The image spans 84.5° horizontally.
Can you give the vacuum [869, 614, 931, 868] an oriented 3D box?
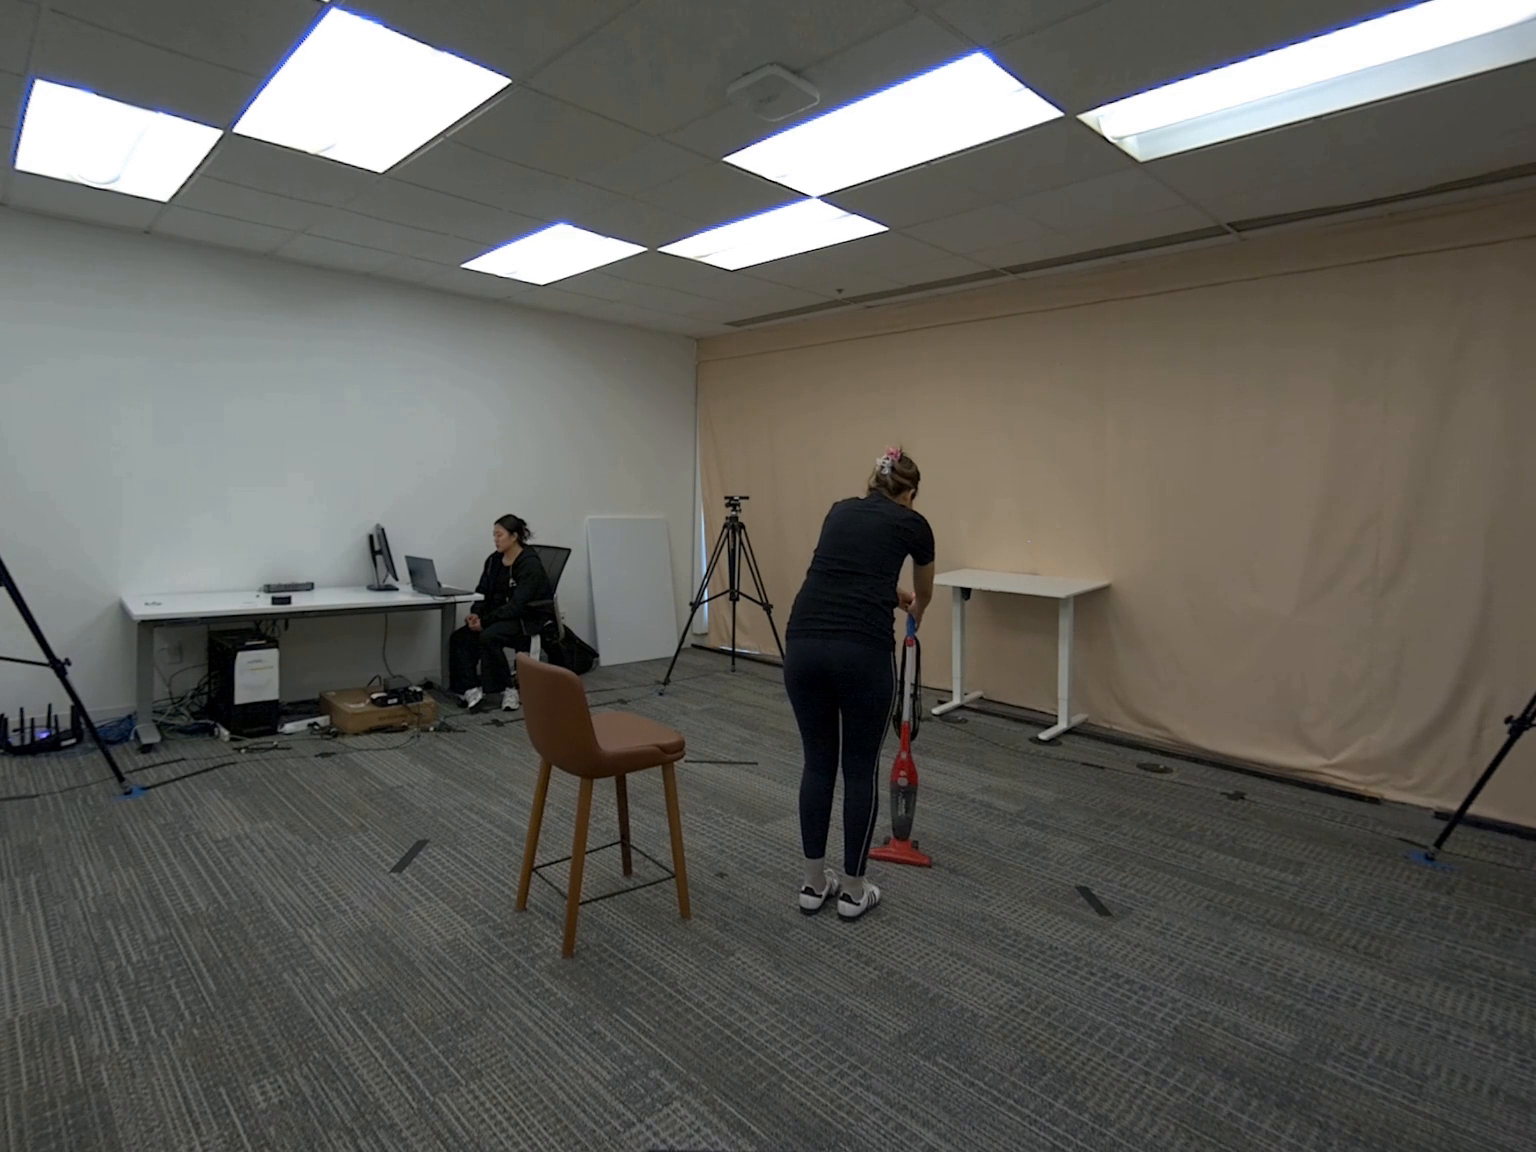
[{"bbox_3d":[0.559,0.594,3.420,0.256,1.059,0.140,1,-15,20],"label":"vacuum"}]
